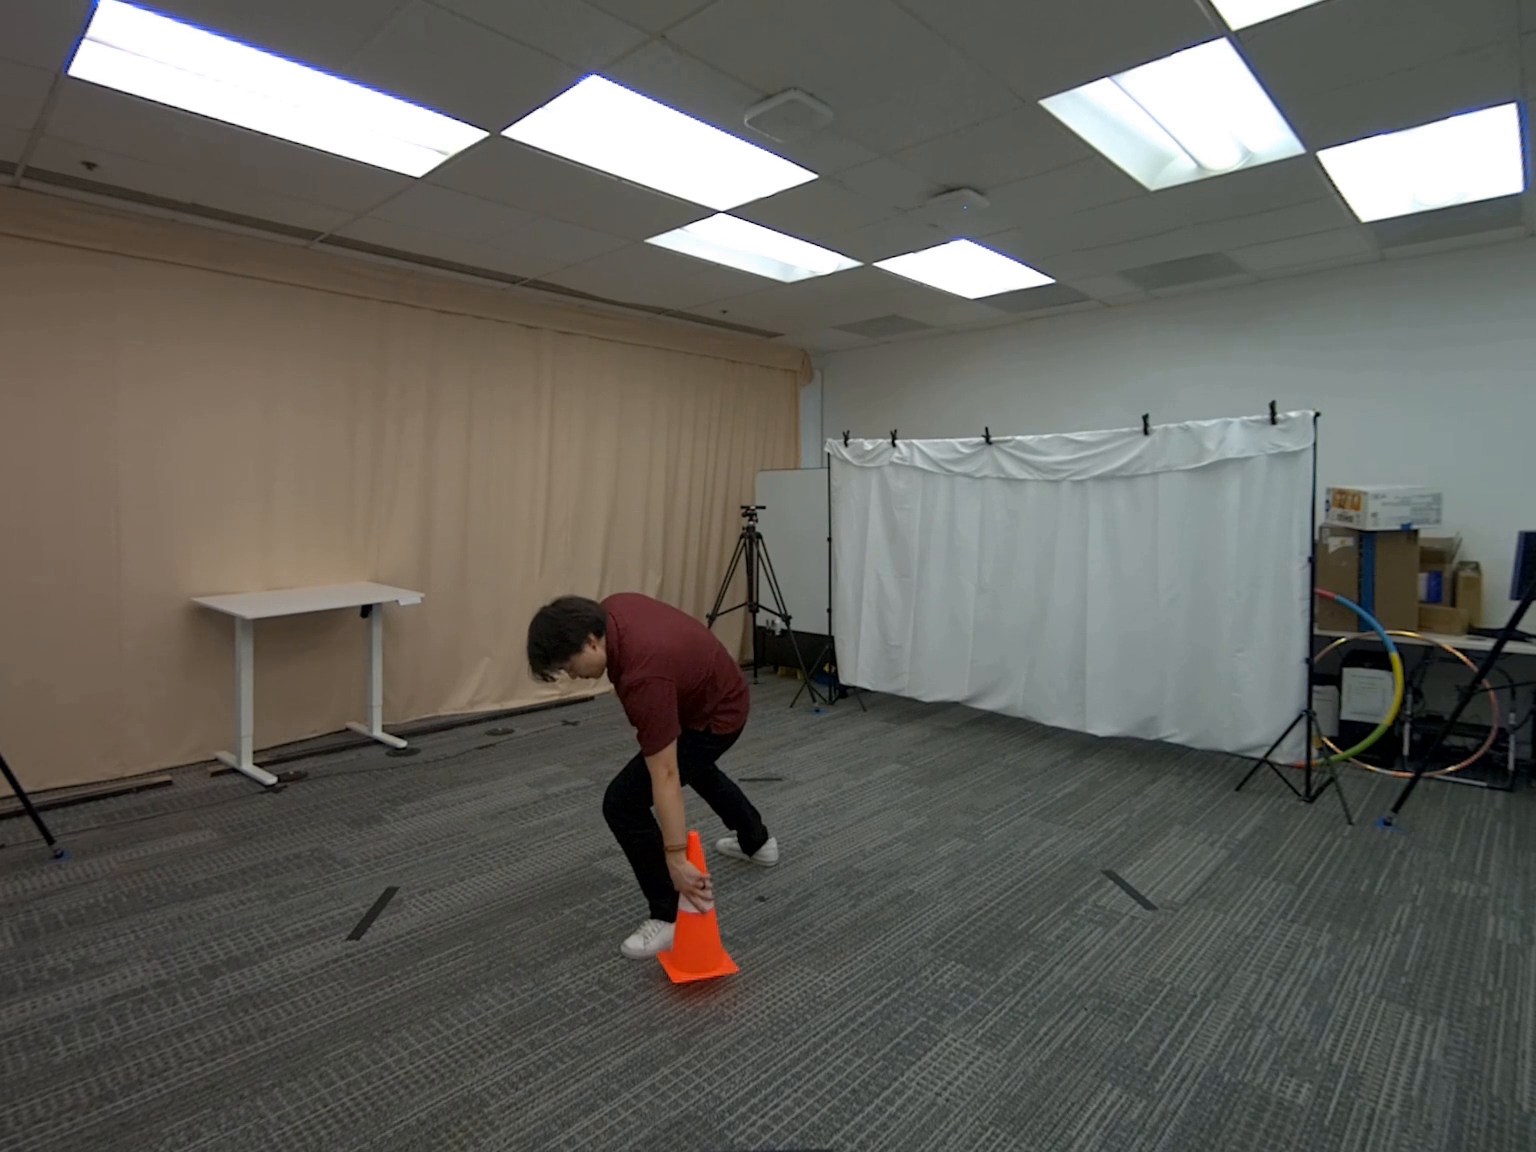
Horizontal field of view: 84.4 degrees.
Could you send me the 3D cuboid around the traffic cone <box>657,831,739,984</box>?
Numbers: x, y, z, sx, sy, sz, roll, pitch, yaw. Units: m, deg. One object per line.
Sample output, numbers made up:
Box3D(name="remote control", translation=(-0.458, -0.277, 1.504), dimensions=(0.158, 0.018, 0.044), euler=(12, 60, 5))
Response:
Box3D(name="traffic cone", translation=(-0.205, 0.941, 2.463), dimensions=(0.198, 0.384, 0.209), euler=(3, -3, -24))
